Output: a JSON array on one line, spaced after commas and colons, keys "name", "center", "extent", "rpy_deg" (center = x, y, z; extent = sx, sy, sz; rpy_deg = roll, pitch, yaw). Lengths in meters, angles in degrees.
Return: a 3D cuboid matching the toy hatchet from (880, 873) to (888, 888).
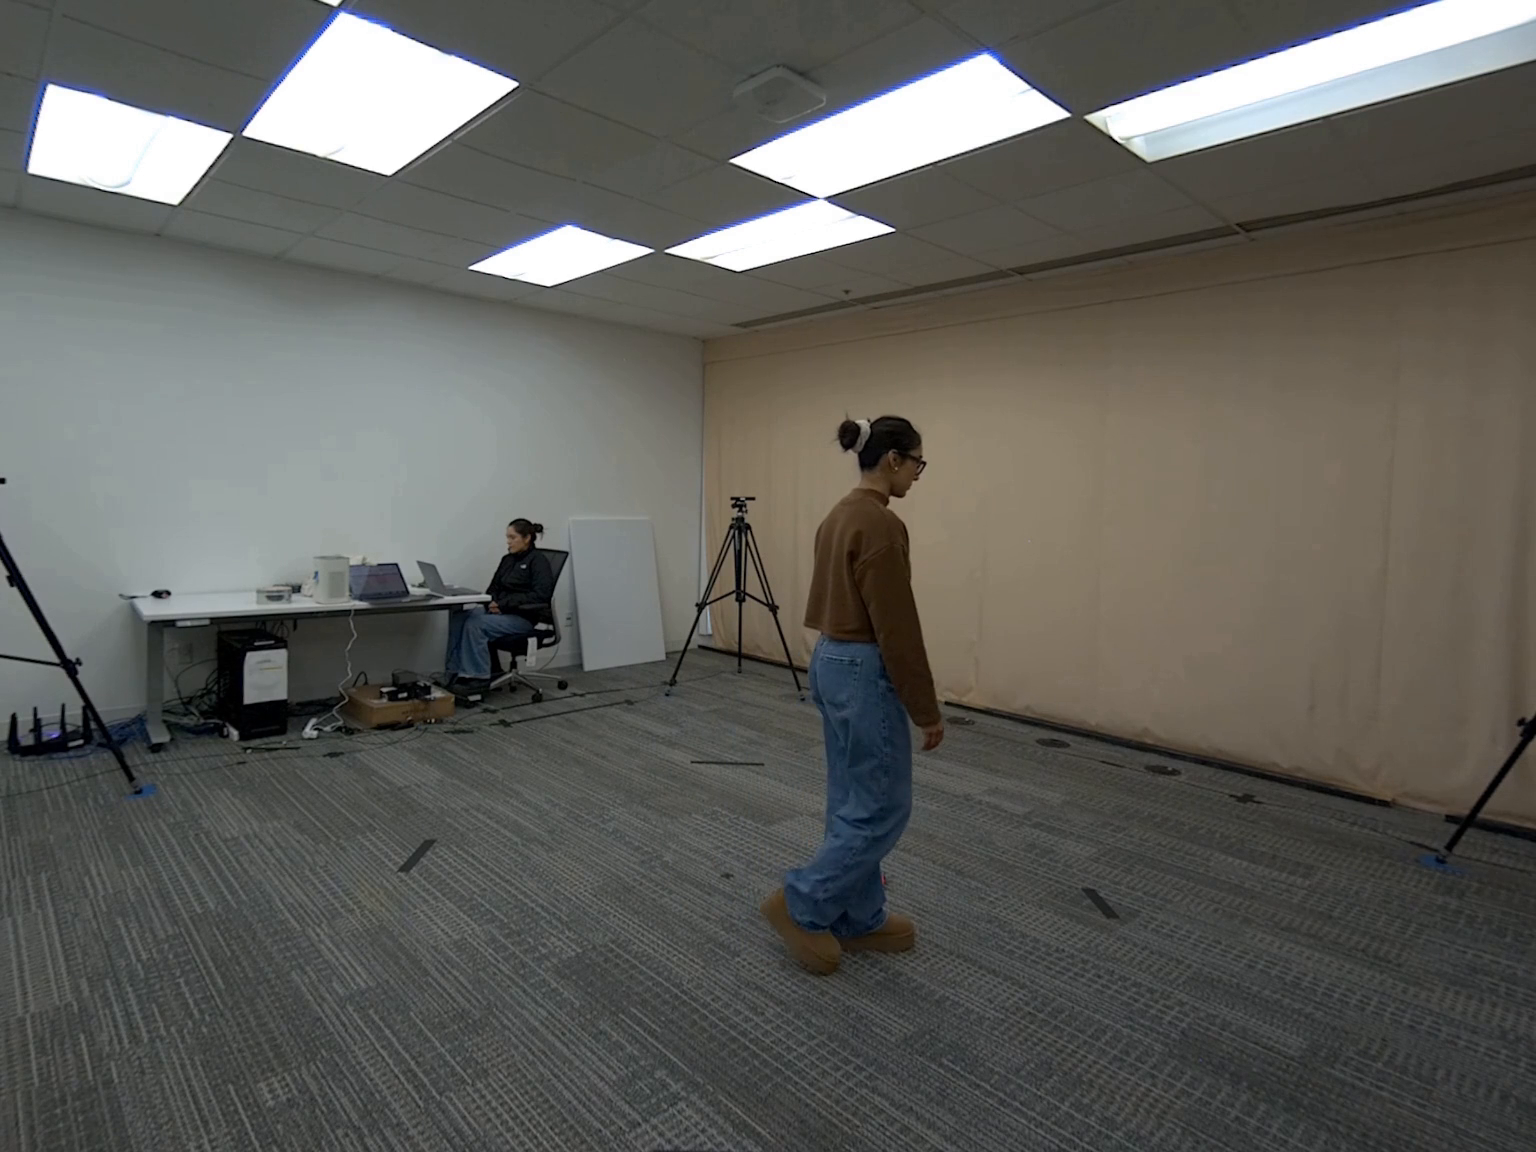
[{"name": "toy hatchet", "center": [0.293, 1.110, 3.100], "extent": [0.272, 0.029, 0.130], "rpy_deg": [0, 4, 11]}]
